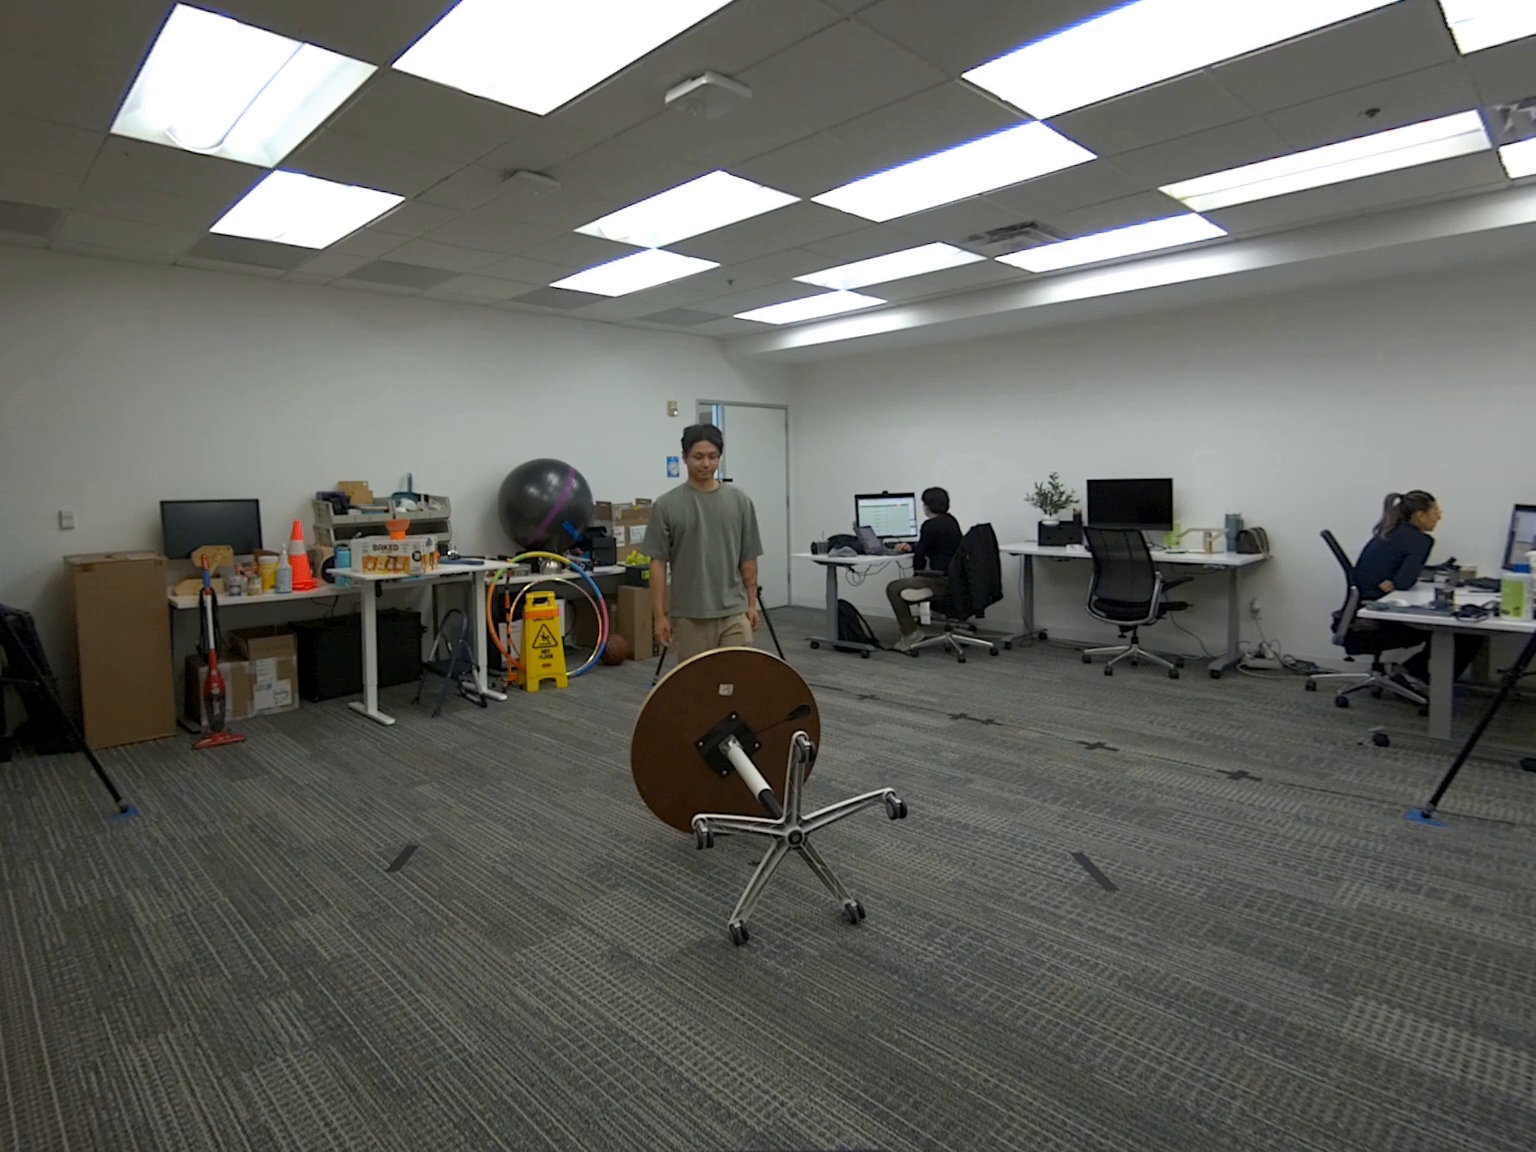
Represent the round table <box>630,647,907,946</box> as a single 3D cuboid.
[{"bbox_3d":[-0.027,0.732,2.928,0.773,0.777,0.807,-2,12,-18],"label":"round table"}]
